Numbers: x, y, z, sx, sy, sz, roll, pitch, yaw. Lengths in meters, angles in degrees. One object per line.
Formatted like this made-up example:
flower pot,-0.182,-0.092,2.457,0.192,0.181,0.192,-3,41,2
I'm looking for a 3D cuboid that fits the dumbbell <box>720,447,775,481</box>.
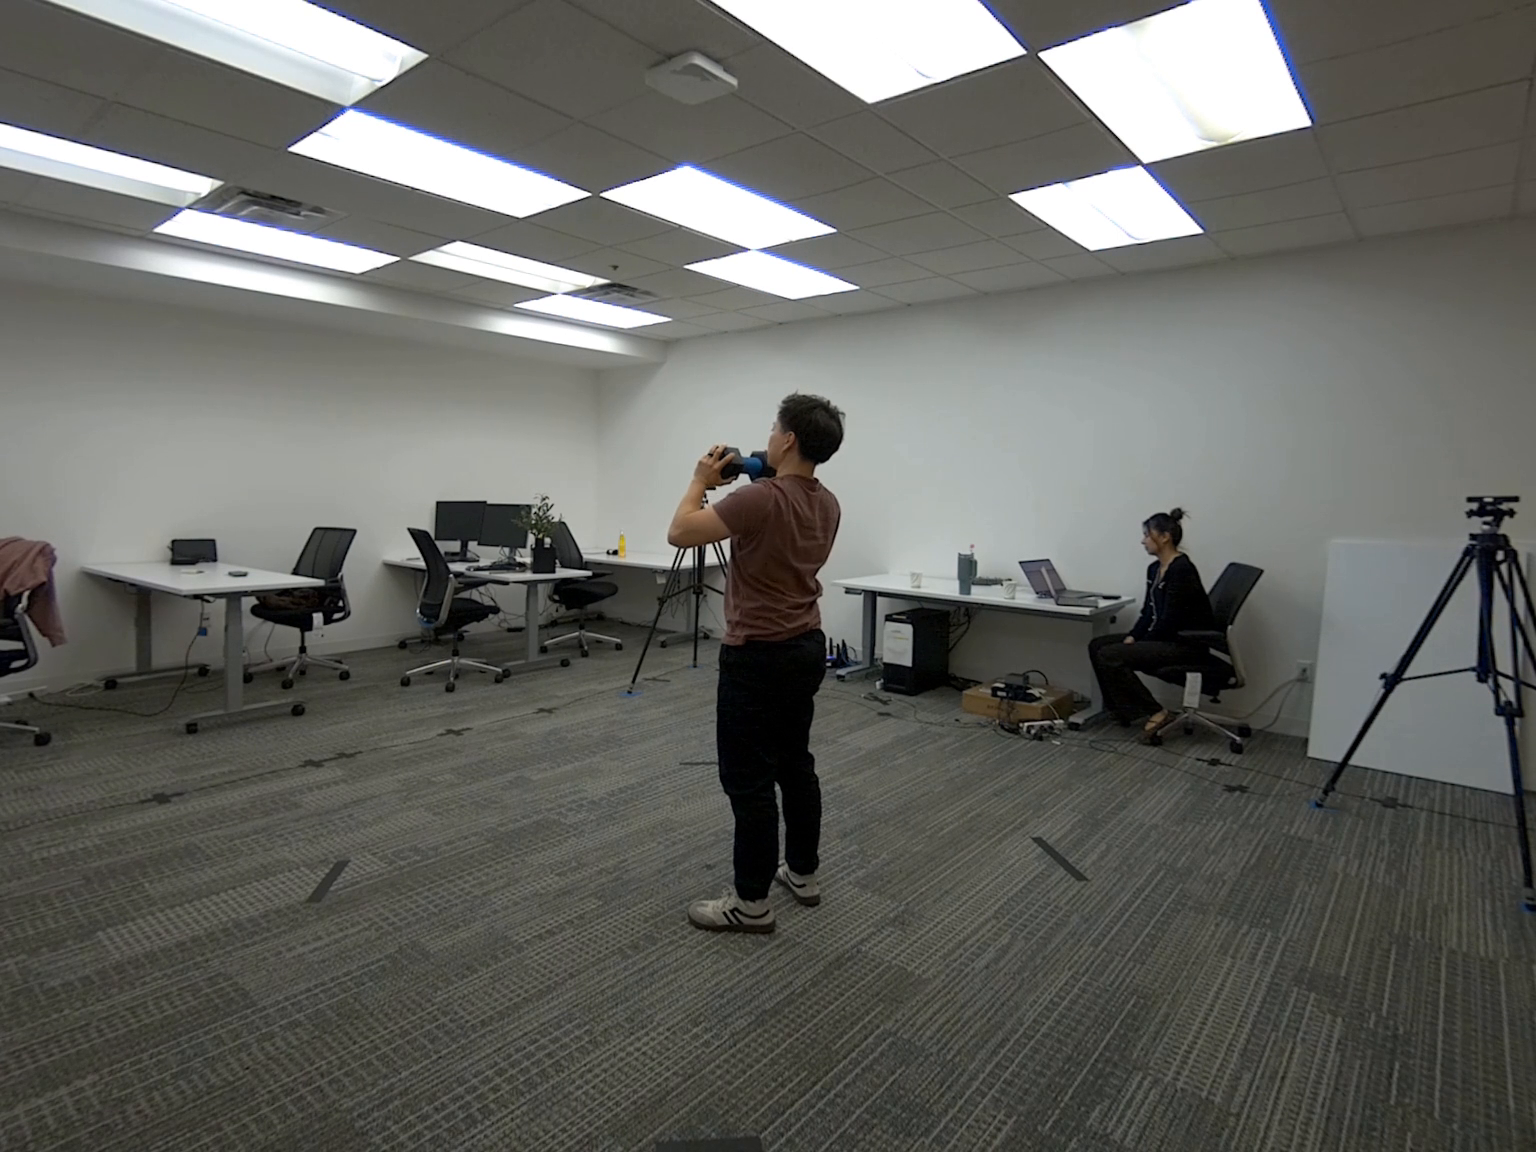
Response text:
dumbbell,-0.090,-0.382,2.870,0.113,0.122,0.285,40,27,31
